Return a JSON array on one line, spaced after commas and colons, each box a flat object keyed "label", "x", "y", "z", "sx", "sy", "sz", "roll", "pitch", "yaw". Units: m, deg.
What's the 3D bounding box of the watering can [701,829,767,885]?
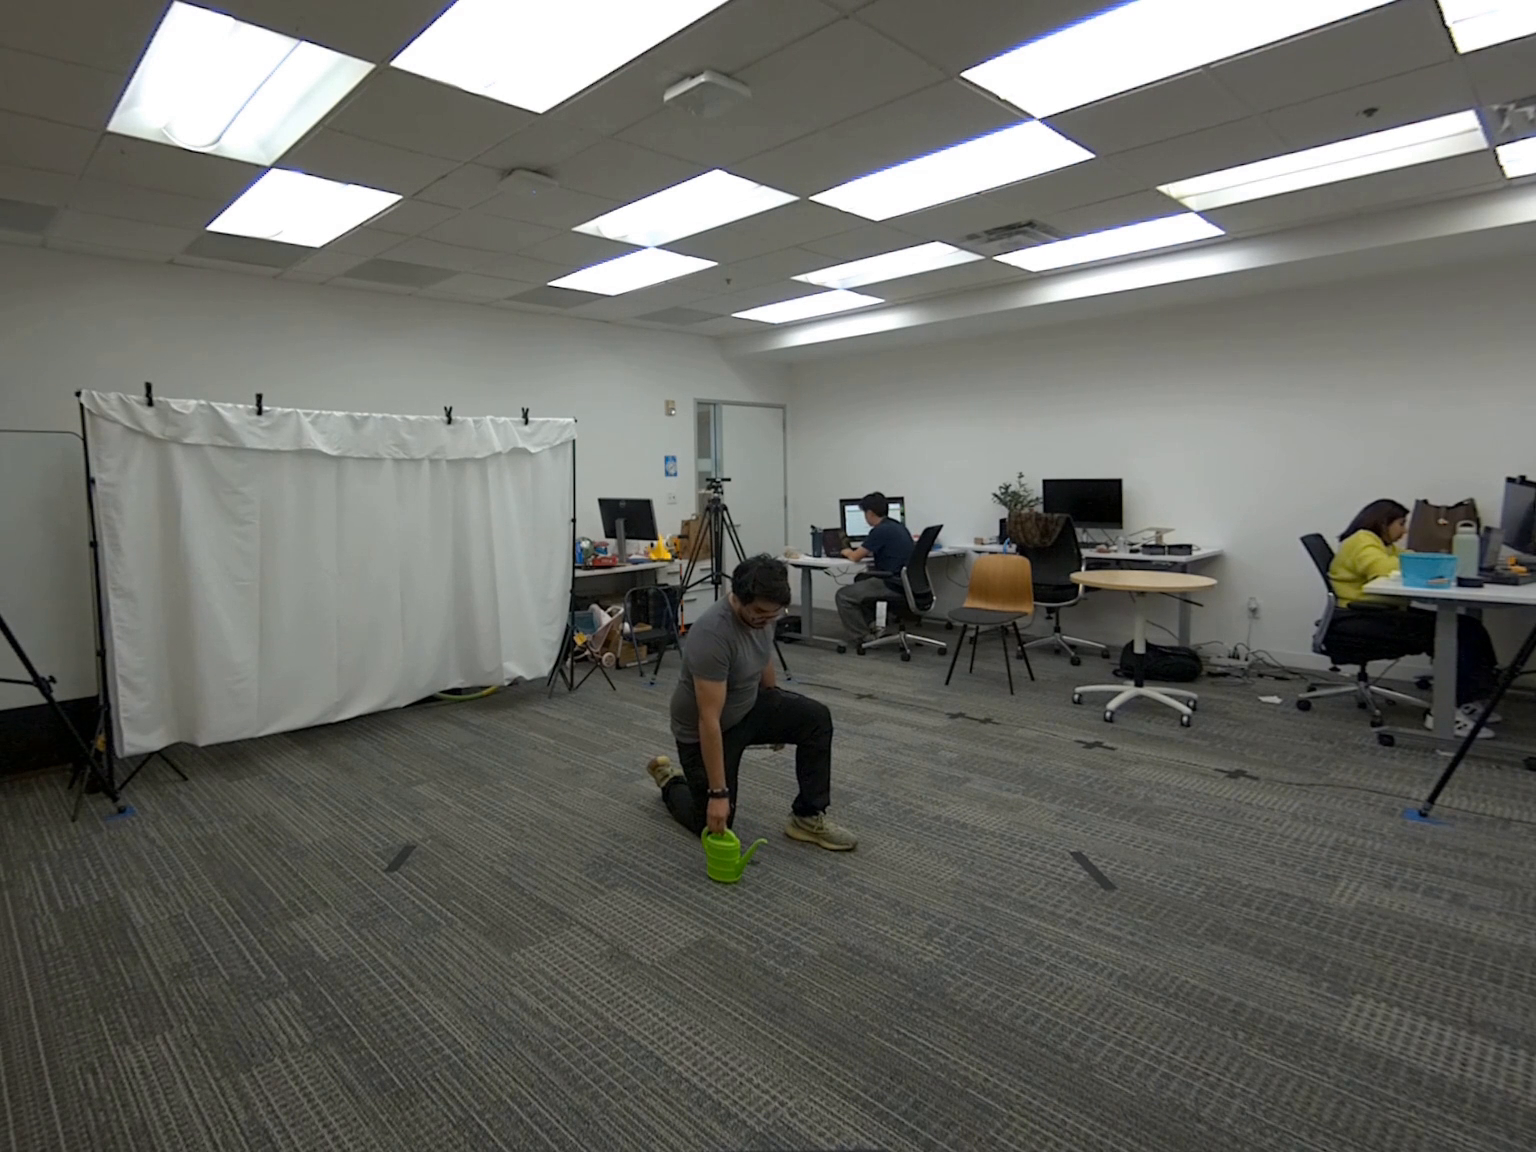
[{"label": "watering can", "x": -0.129, "y": 0.977, "z": 2.962, "sx": 0.095, "sy": 0.176, "sz": 0.287, "roll": -6, "pitch": 7, "yaw": -39}]
